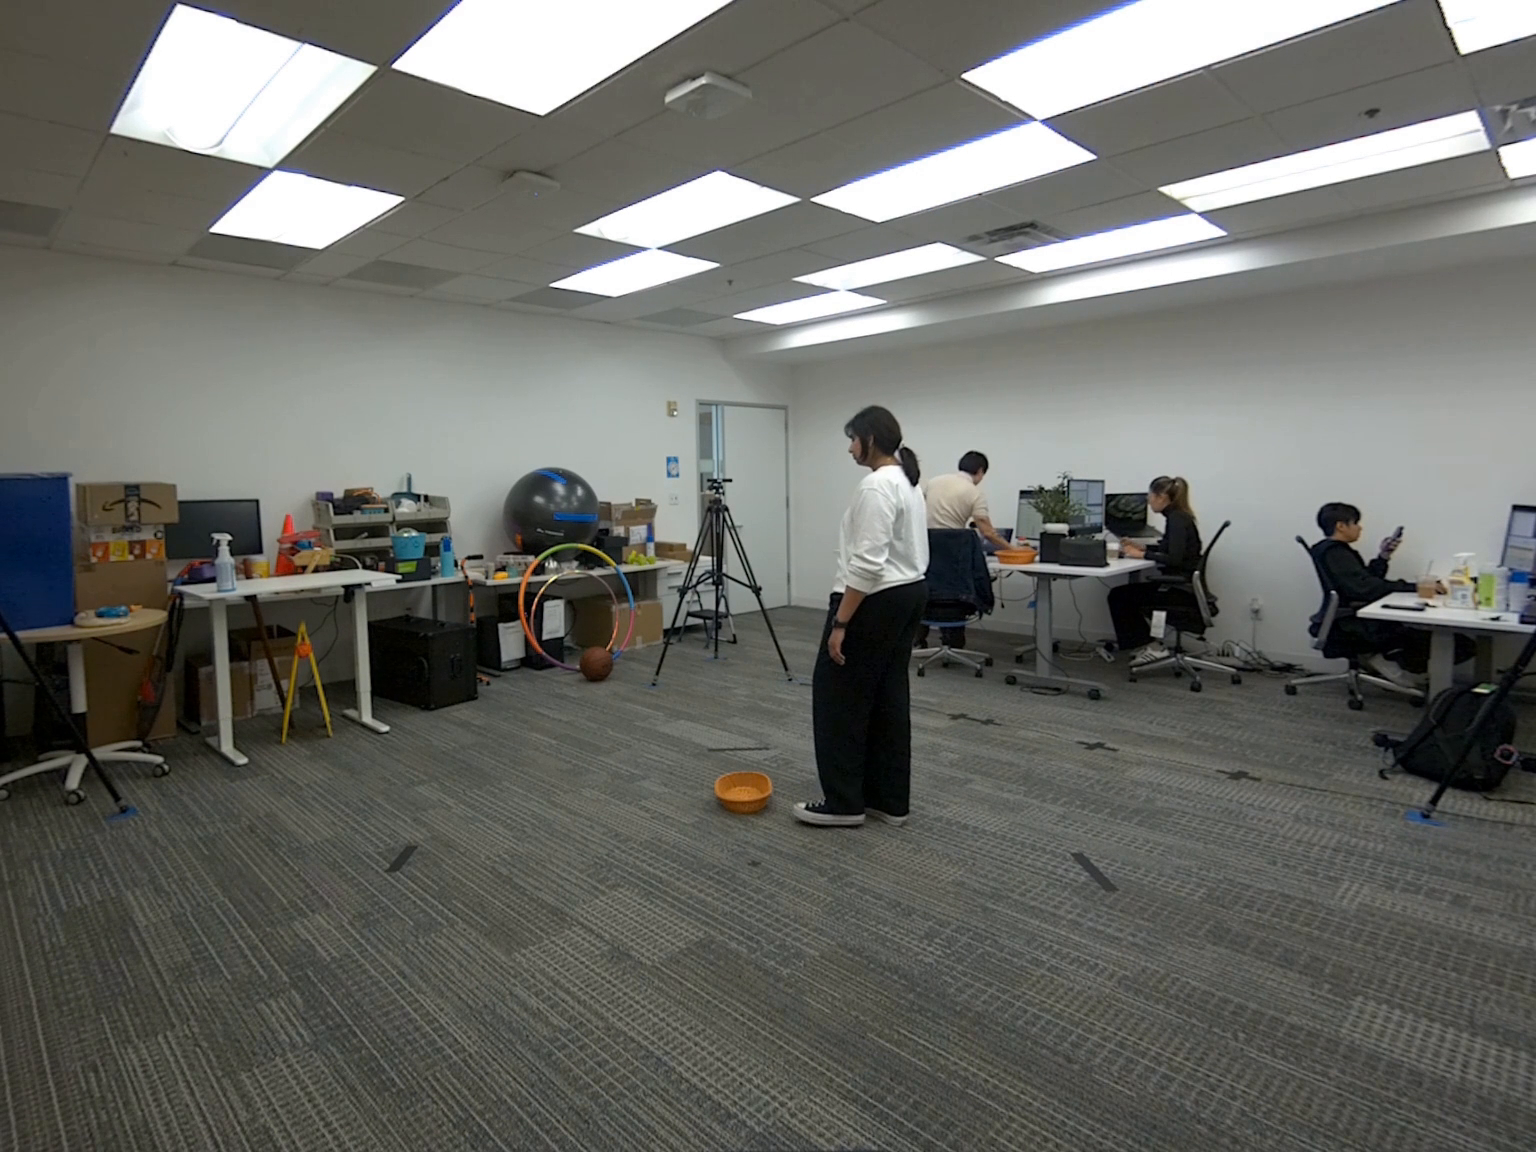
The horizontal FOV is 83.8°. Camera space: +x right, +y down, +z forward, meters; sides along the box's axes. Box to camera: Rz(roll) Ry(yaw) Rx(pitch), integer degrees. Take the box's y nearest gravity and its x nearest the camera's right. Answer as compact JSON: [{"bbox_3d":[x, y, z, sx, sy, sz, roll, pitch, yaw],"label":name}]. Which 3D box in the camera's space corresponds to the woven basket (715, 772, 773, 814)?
[{"bbox_3d":[-0.105,0.938,3.712,0.253,0.073,0.352,-3,6,0],"label":"woven basket"}]
